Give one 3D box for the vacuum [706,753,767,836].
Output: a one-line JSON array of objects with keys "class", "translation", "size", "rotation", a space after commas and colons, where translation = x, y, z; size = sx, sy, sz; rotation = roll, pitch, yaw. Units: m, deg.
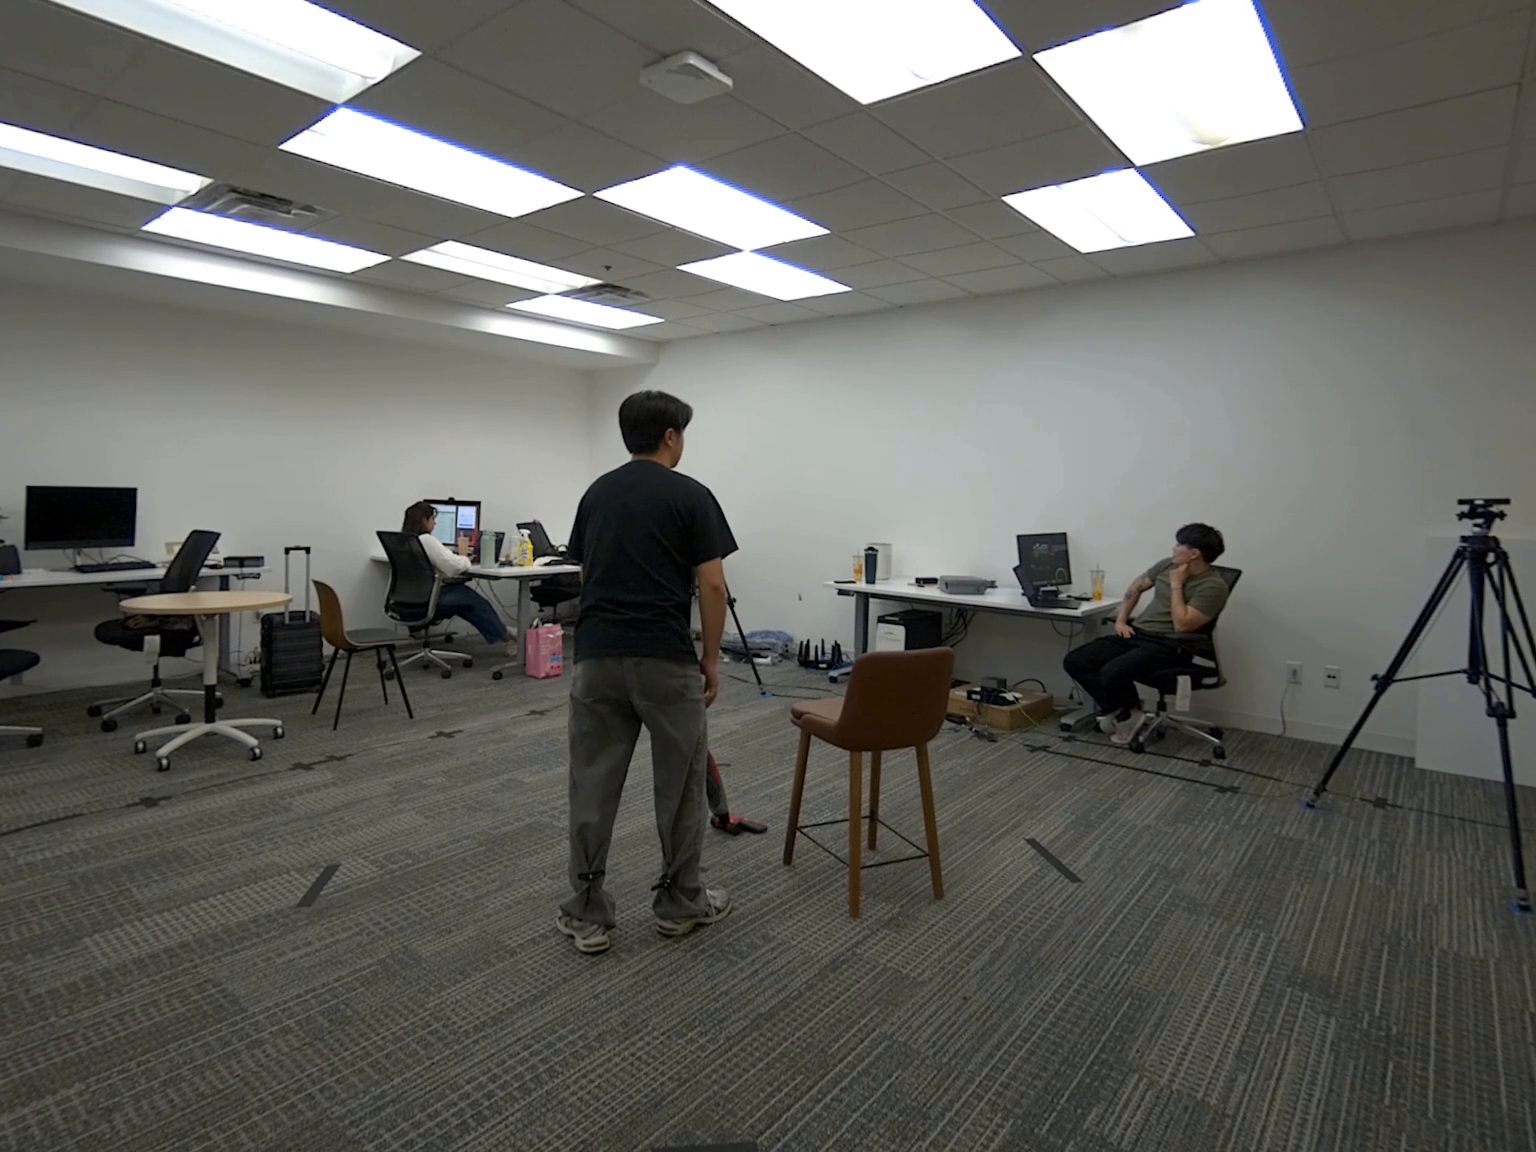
[{"class": "vacuum", "translation": [-0.324, 0.617, 3.259], "size": [0.261, 1.015, 0.144], "rotation": [3, 38, 37]}]
